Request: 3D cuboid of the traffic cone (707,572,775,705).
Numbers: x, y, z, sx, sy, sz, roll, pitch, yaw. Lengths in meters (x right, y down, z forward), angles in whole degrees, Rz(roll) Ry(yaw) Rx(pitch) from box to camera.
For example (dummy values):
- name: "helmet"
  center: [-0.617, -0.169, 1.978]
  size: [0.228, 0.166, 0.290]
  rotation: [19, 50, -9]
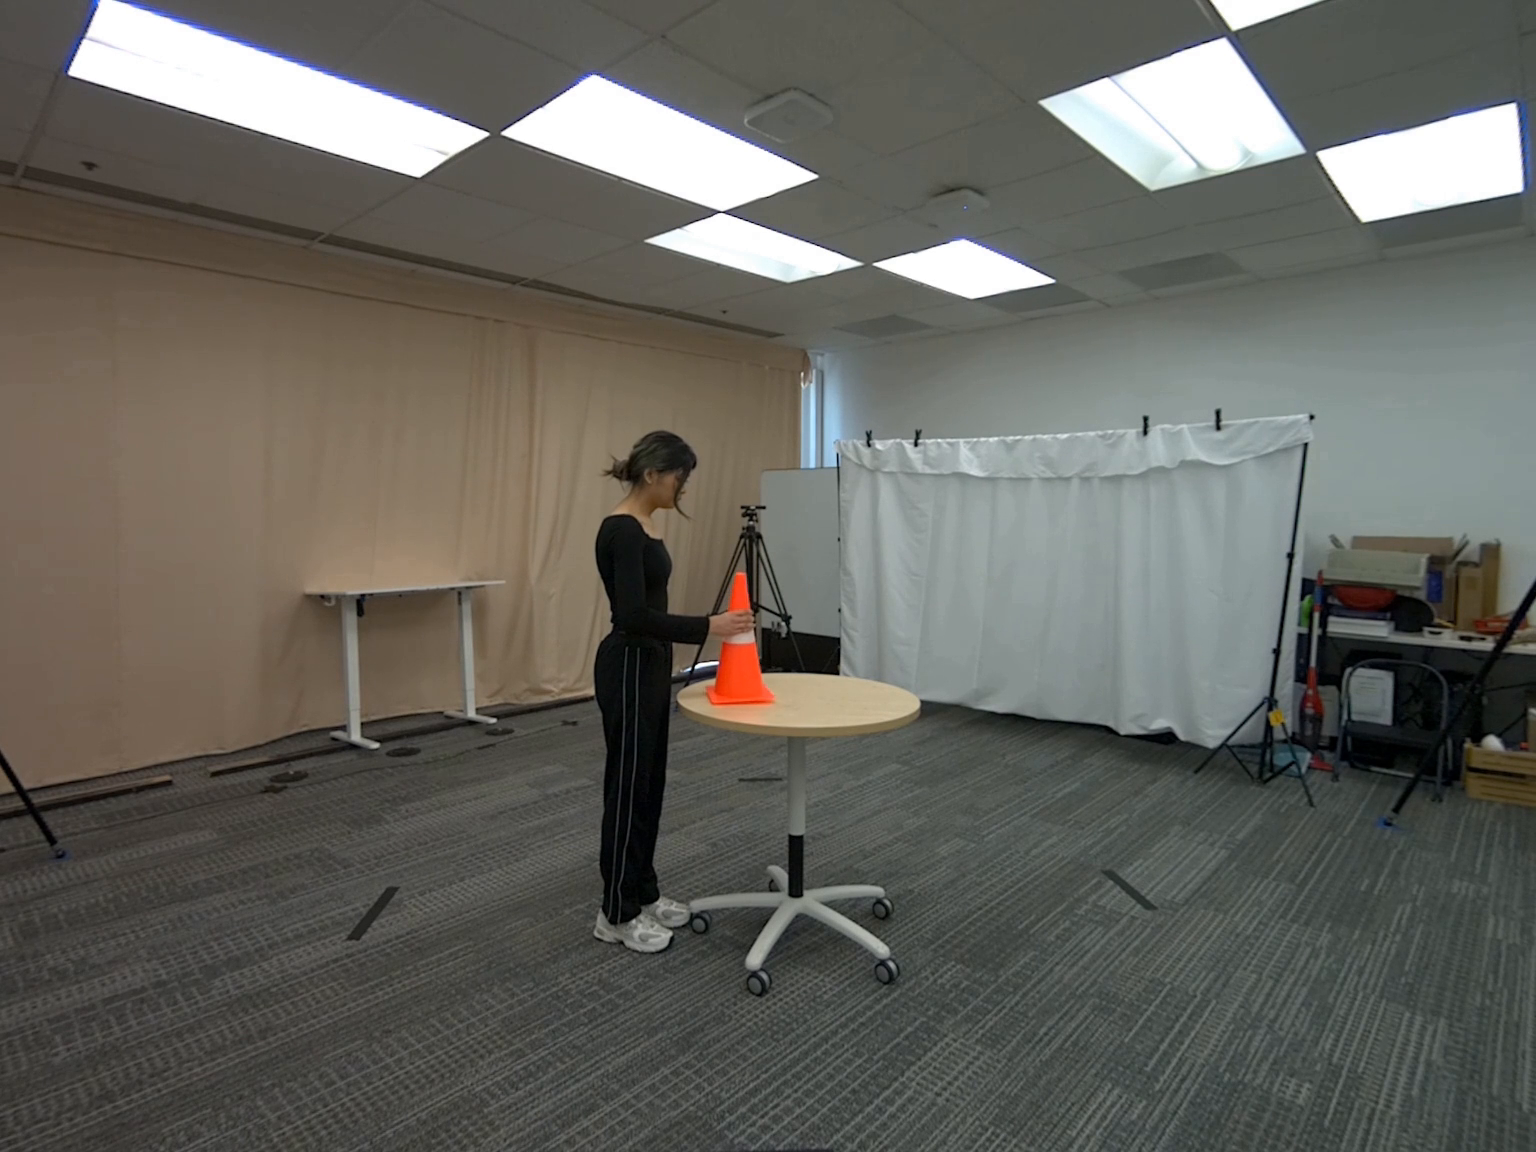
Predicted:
- name: "traffic cone"
  center: [-0.092, 0.185, 2.632]
  size: [0.202, 0.383, 0.207]
  rotation: [-3, 4, -6]
